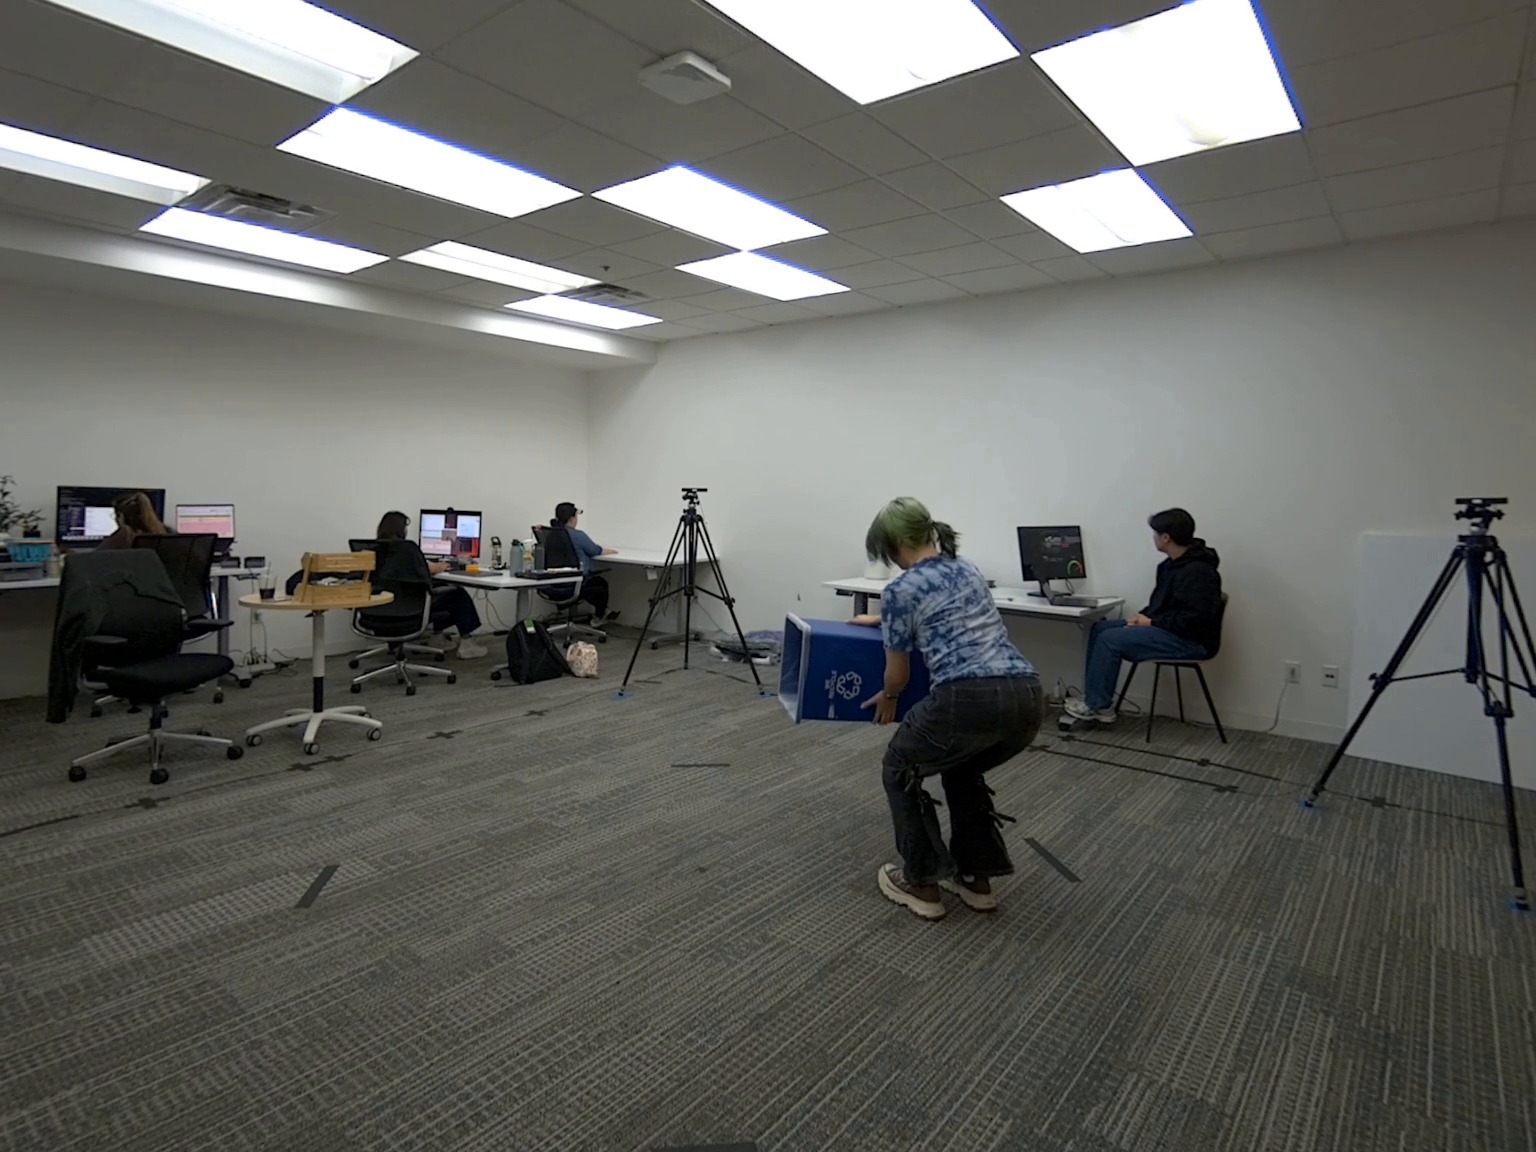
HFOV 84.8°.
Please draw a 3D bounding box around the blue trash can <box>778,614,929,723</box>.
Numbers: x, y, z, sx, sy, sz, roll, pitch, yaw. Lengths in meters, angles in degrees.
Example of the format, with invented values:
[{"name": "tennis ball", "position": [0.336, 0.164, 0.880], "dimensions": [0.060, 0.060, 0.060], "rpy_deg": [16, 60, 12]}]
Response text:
[{"name": "blue trash can", "position": [0.422, 0.357, 3.354], "dimensions": [0.707, 0.372, 0.383], "rpy_deg": [3, 7, -8]}]
